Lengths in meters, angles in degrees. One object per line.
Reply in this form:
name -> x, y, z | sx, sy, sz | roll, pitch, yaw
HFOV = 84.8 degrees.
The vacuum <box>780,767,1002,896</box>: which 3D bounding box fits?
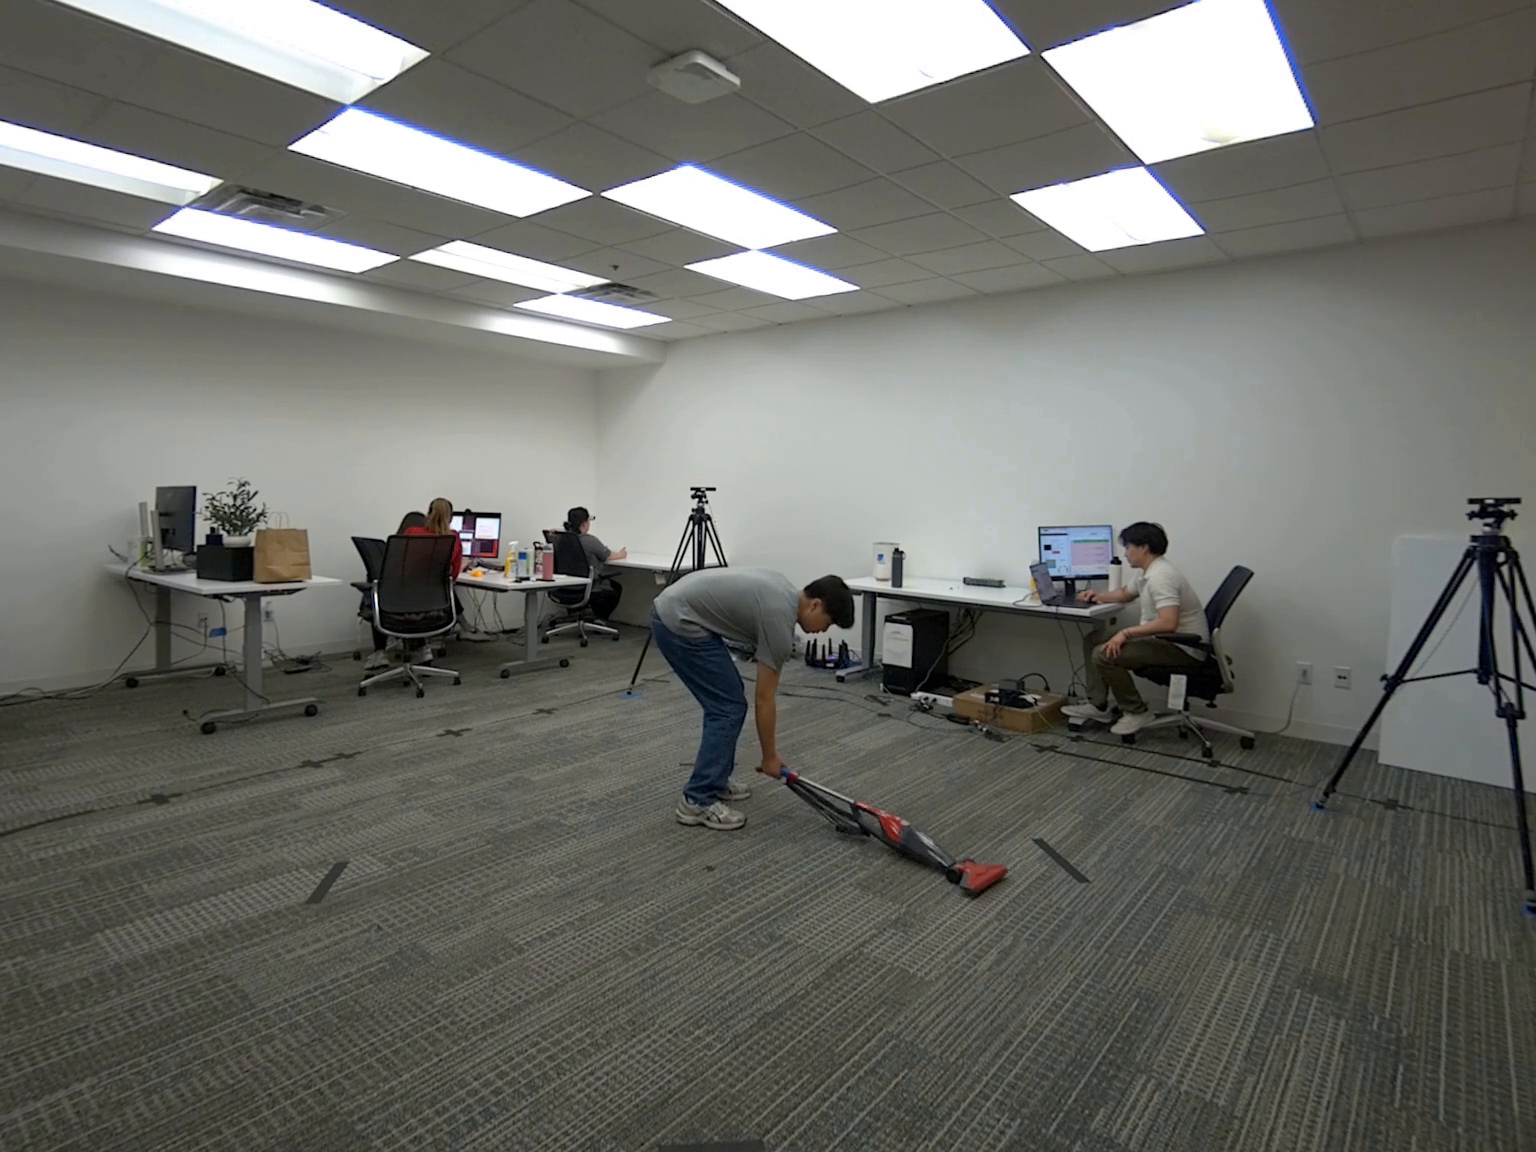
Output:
vacuum -> 0.368, 0.964, 3.405 | 0.246, 0.142, 1.088 | -11, 16, -41
